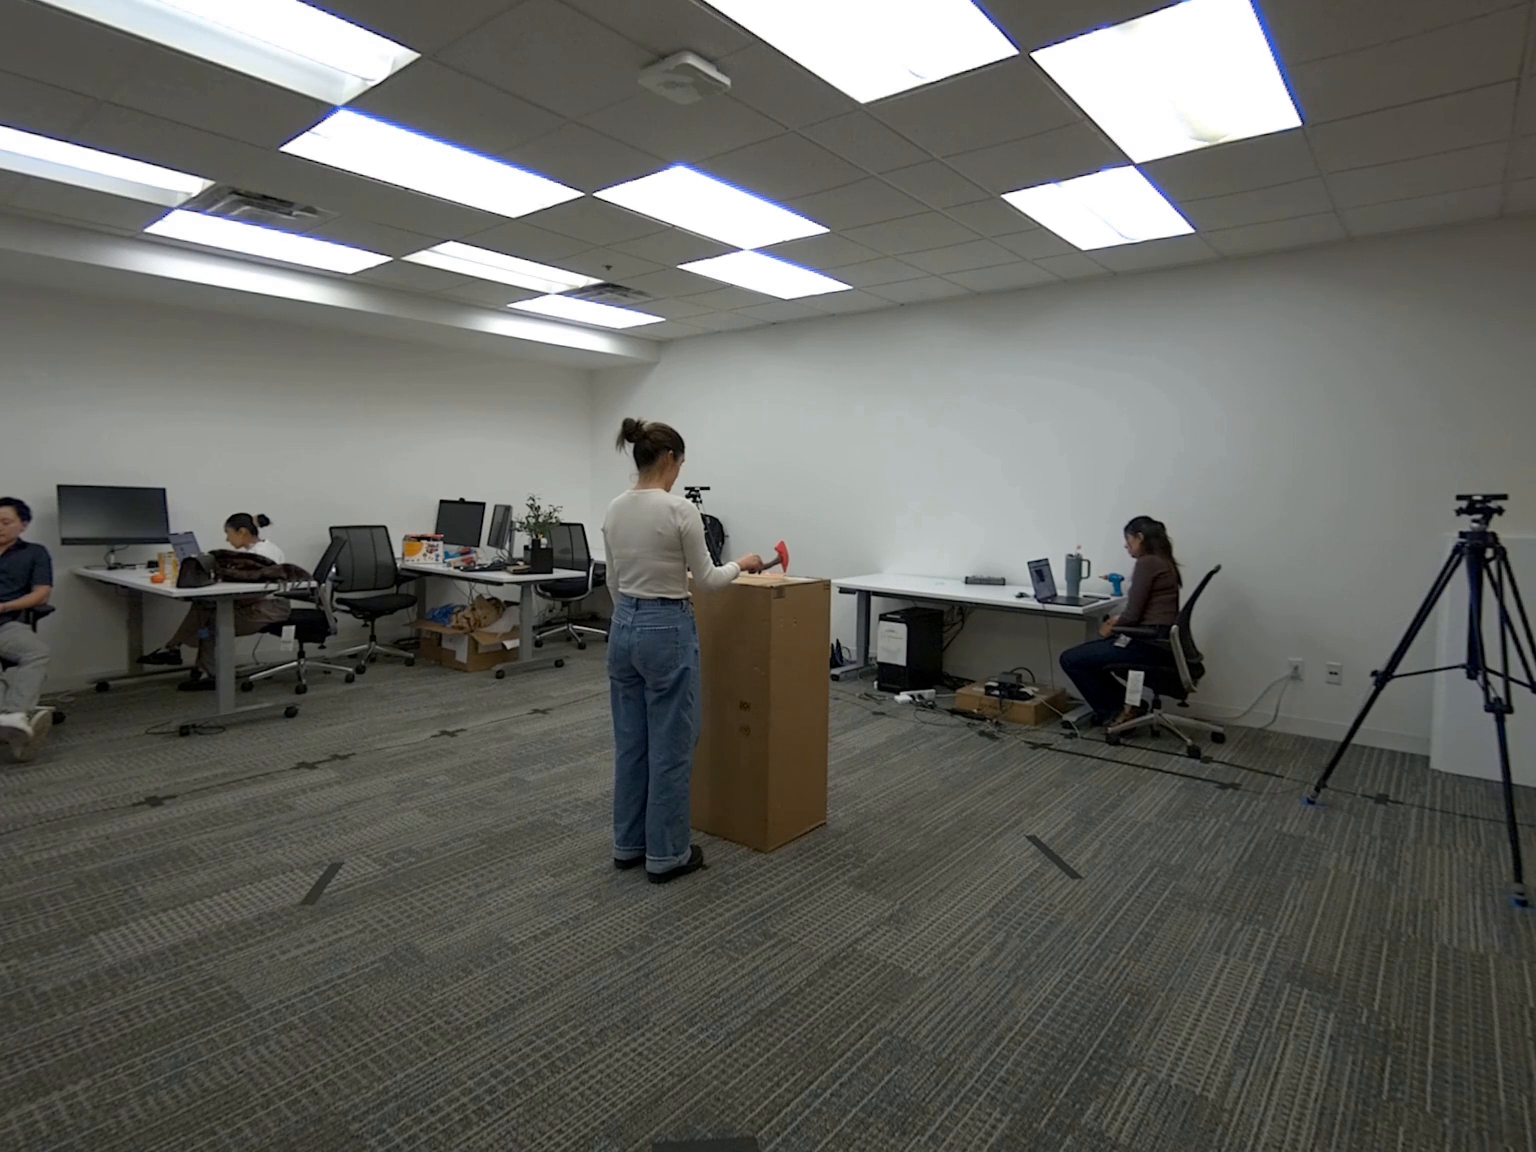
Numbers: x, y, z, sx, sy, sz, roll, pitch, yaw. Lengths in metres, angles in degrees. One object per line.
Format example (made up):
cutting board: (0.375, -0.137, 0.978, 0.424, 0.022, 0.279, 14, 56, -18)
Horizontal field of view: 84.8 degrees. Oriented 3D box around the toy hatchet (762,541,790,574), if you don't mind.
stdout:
toy hatchet: (0.007, -0.077, 3.337, 0.030, 0.131, 0.261, 4, 0, 33)
